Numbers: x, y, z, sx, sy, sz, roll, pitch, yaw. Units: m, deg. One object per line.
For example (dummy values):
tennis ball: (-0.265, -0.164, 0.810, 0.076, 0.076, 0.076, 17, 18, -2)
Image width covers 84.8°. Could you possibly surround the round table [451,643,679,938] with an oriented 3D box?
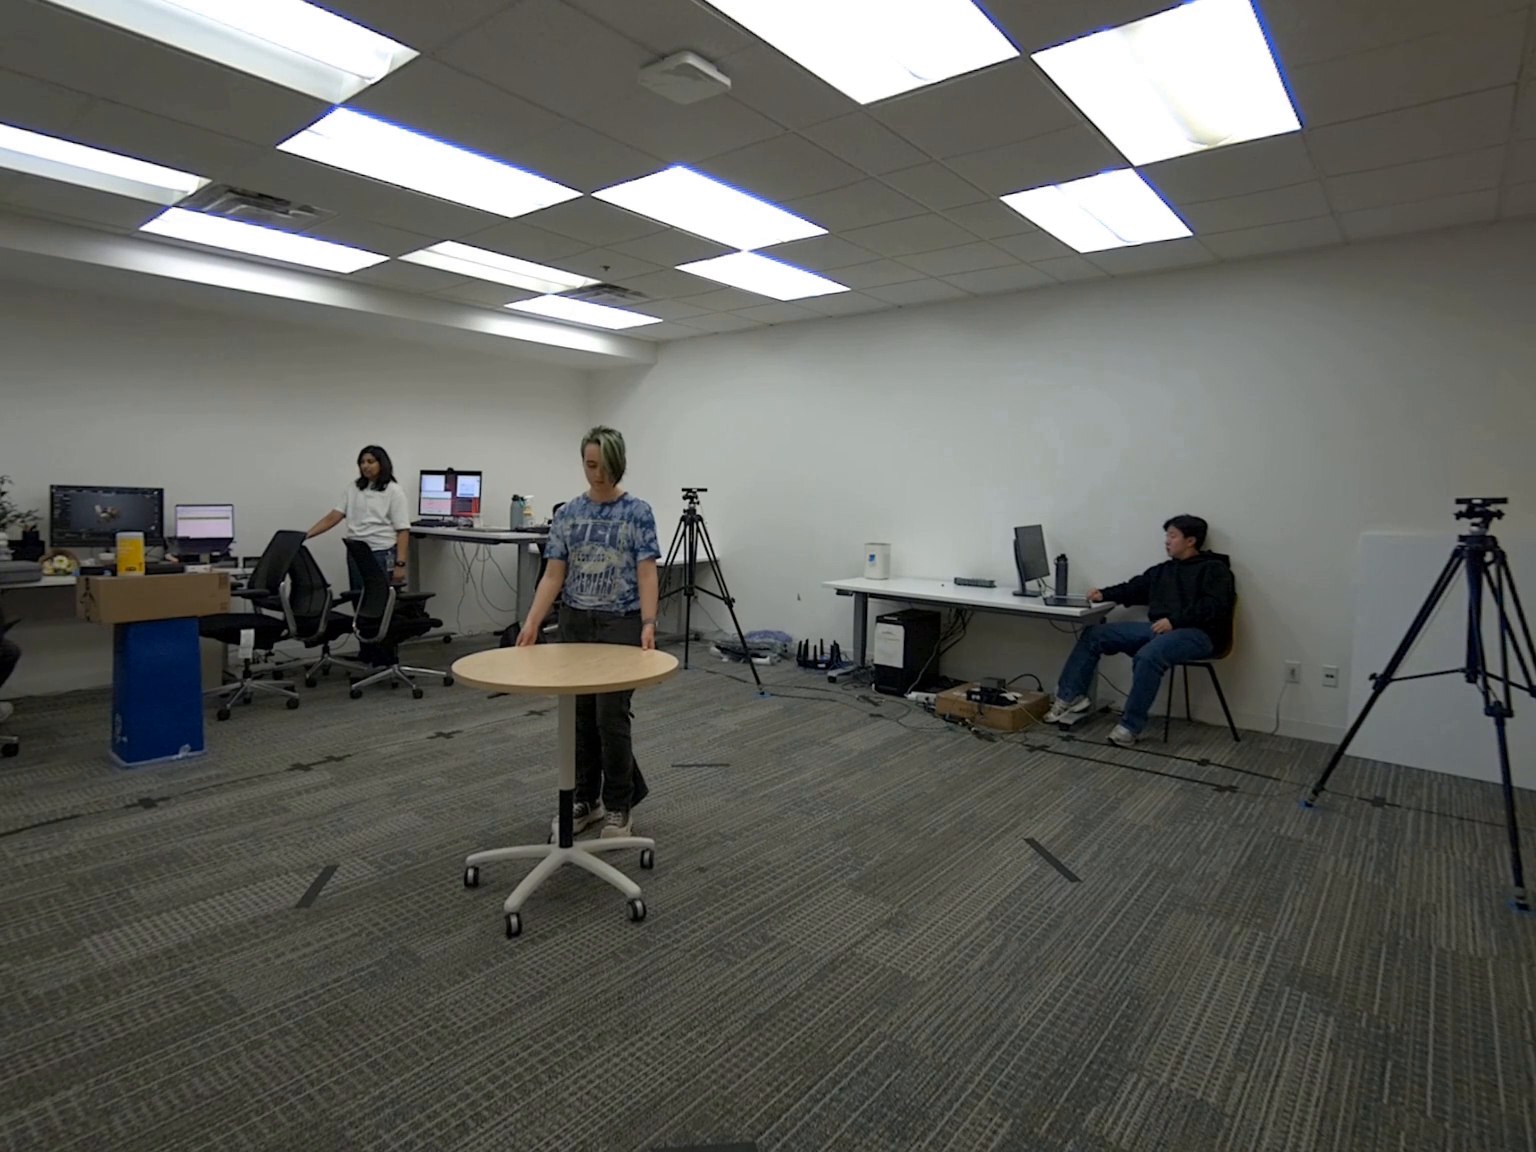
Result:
round table: (-0.702, 0.689, 2.937, 0.763, 0.792, 0.767, 0, 4, -2)
